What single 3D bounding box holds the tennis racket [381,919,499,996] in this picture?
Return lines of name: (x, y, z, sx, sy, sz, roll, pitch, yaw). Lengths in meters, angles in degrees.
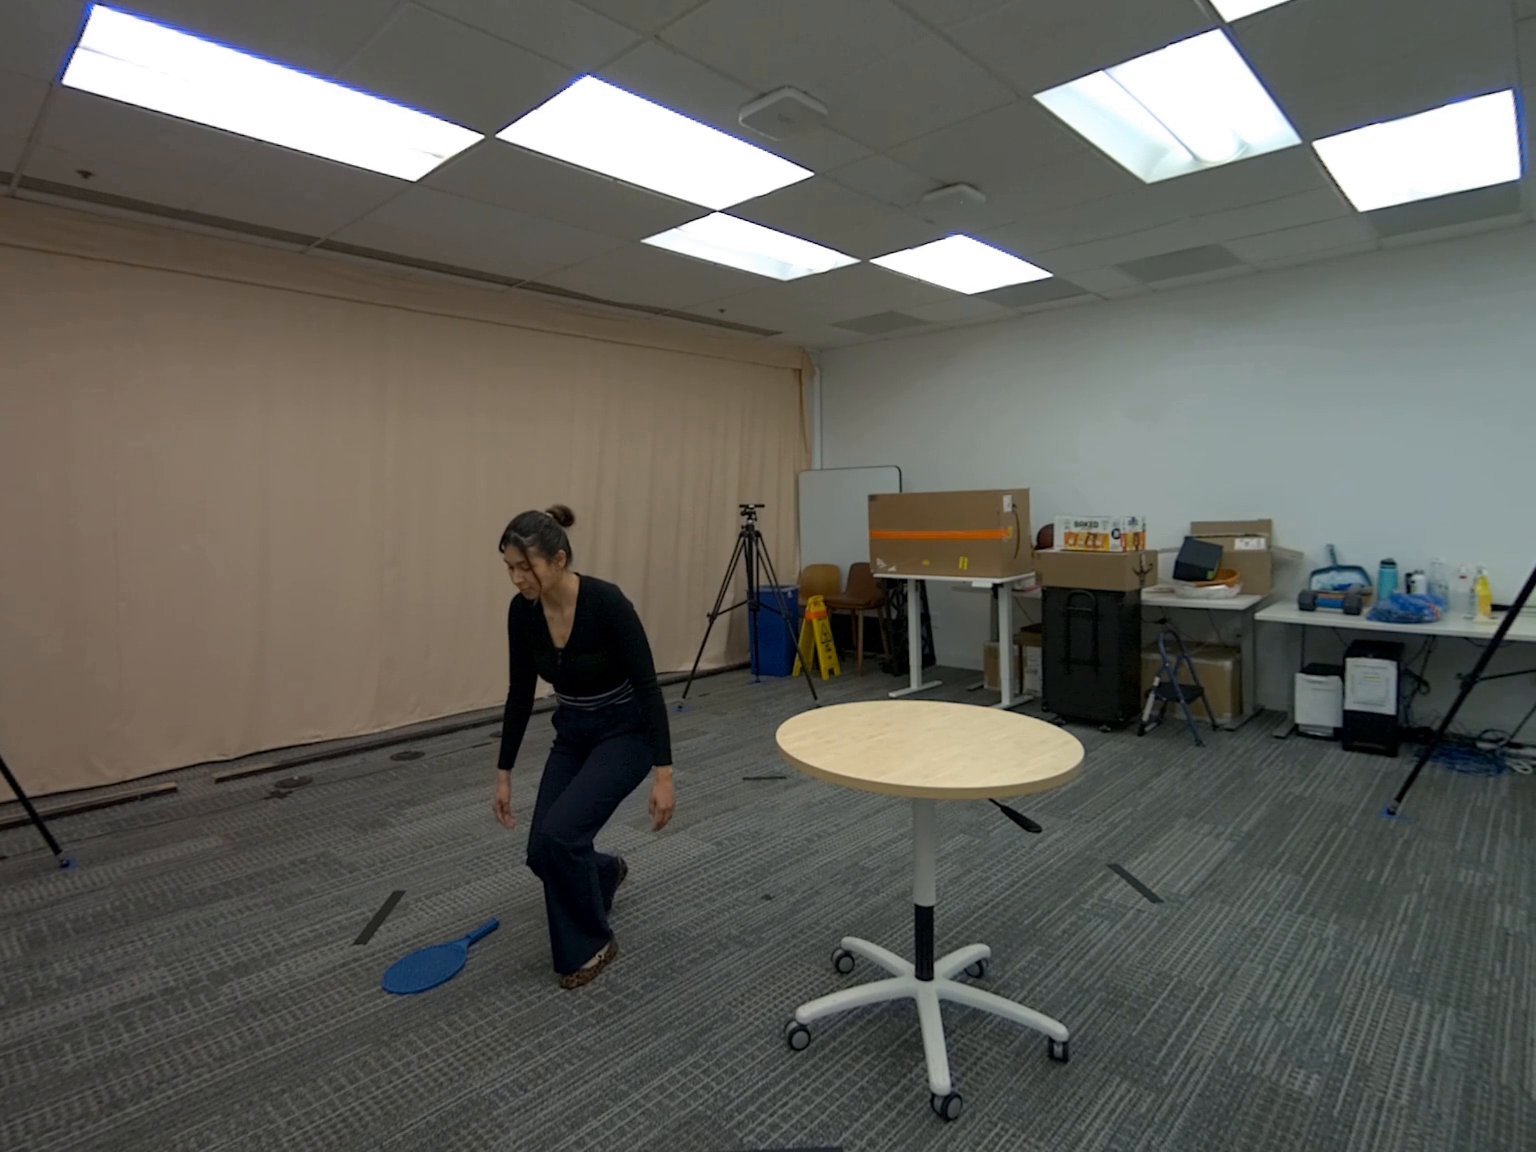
tennis racket: (-1.004, 1.182, 2.631, 0.219, 0.031, 0.423, 0, 6, 26)
